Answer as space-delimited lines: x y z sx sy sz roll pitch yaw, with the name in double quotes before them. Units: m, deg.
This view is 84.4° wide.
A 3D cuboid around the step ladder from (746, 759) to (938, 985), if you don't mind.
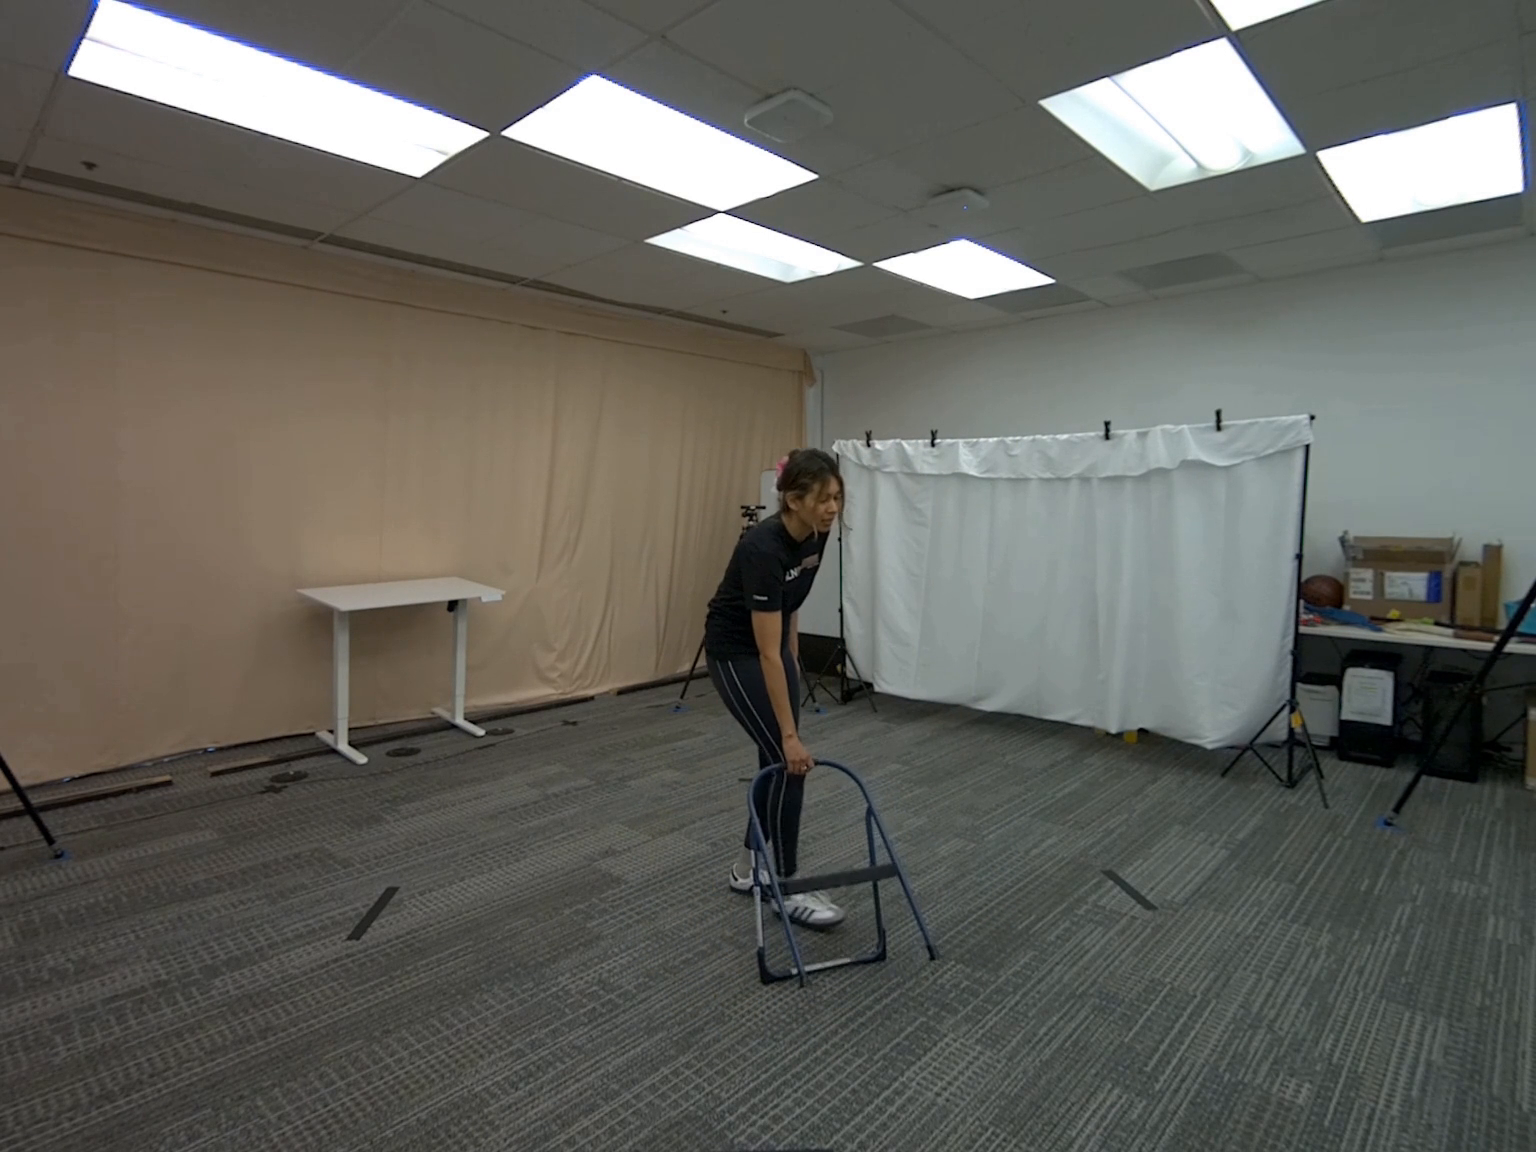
"step ladder" 0.184 0.844 2.499 0.422 0.616 0.350 -1 -24 -21
